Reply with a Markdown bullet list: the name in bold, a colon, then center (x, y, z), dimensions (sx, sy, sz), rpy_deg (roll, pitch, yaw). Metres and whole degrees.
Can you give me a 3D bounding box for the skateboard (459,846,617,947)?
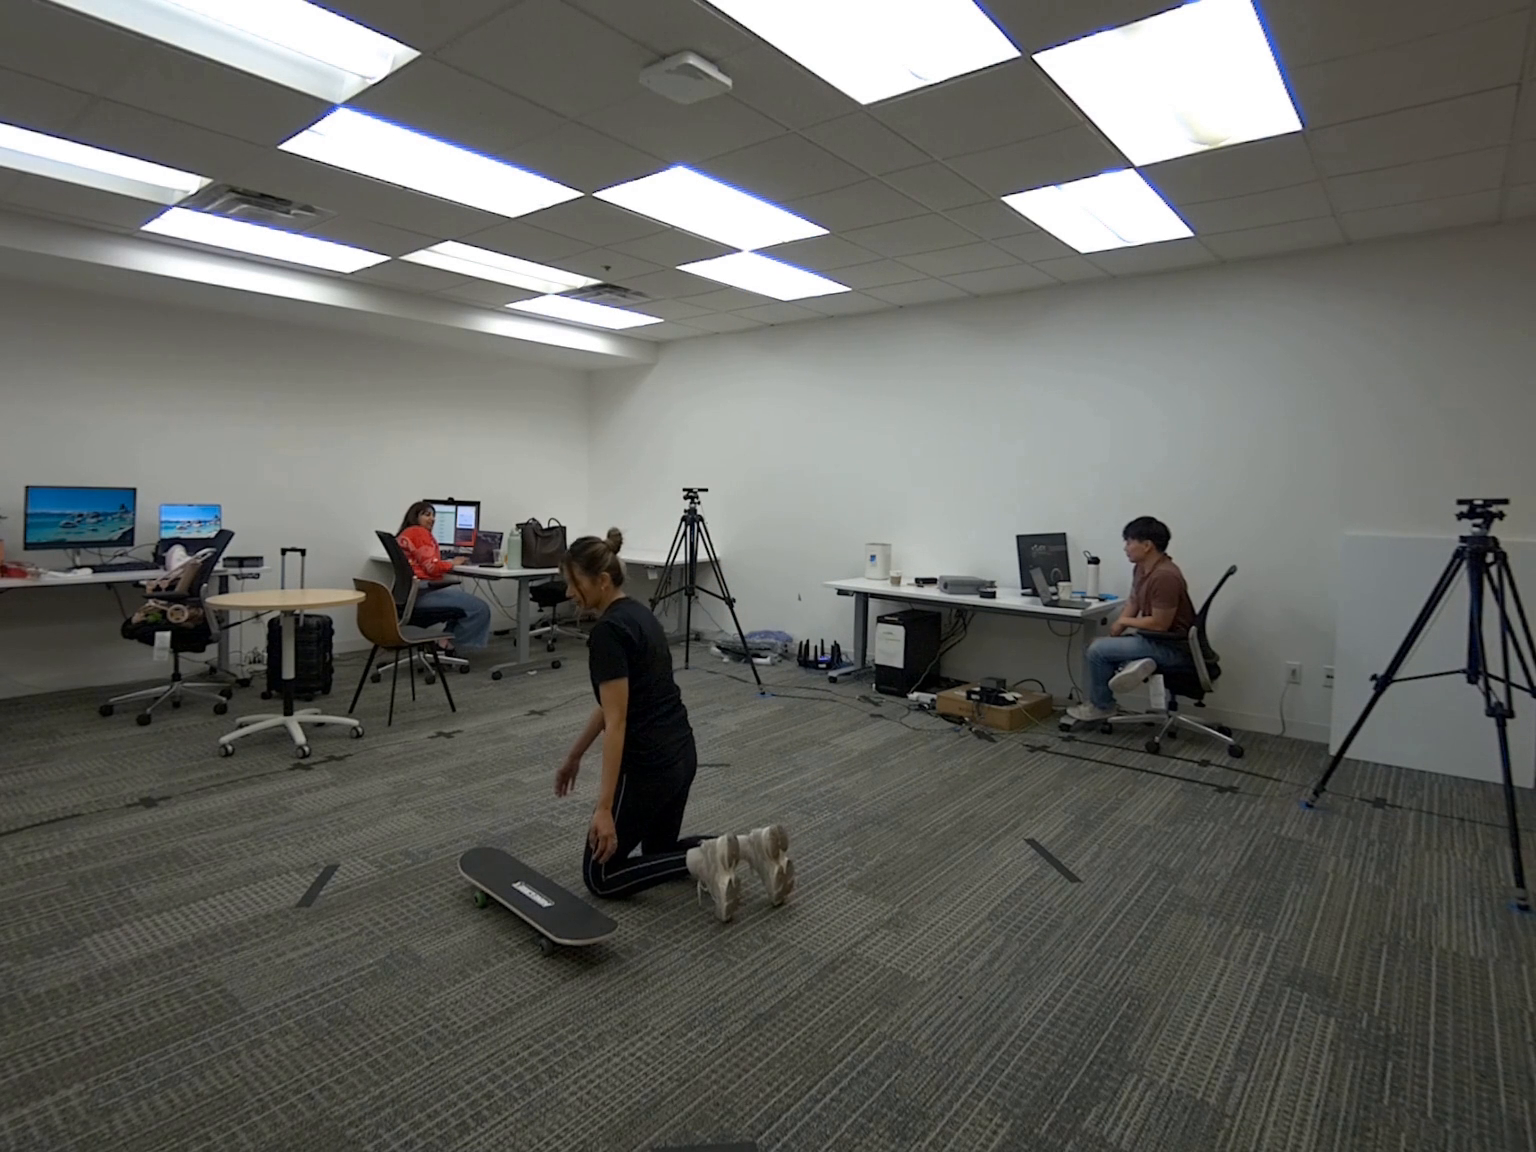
- **skateboard**: center (-0.760, 1.041, 2.715), dimensions (0.812, 0.110, 0.188), rpy_deg (5, 7, 43)
